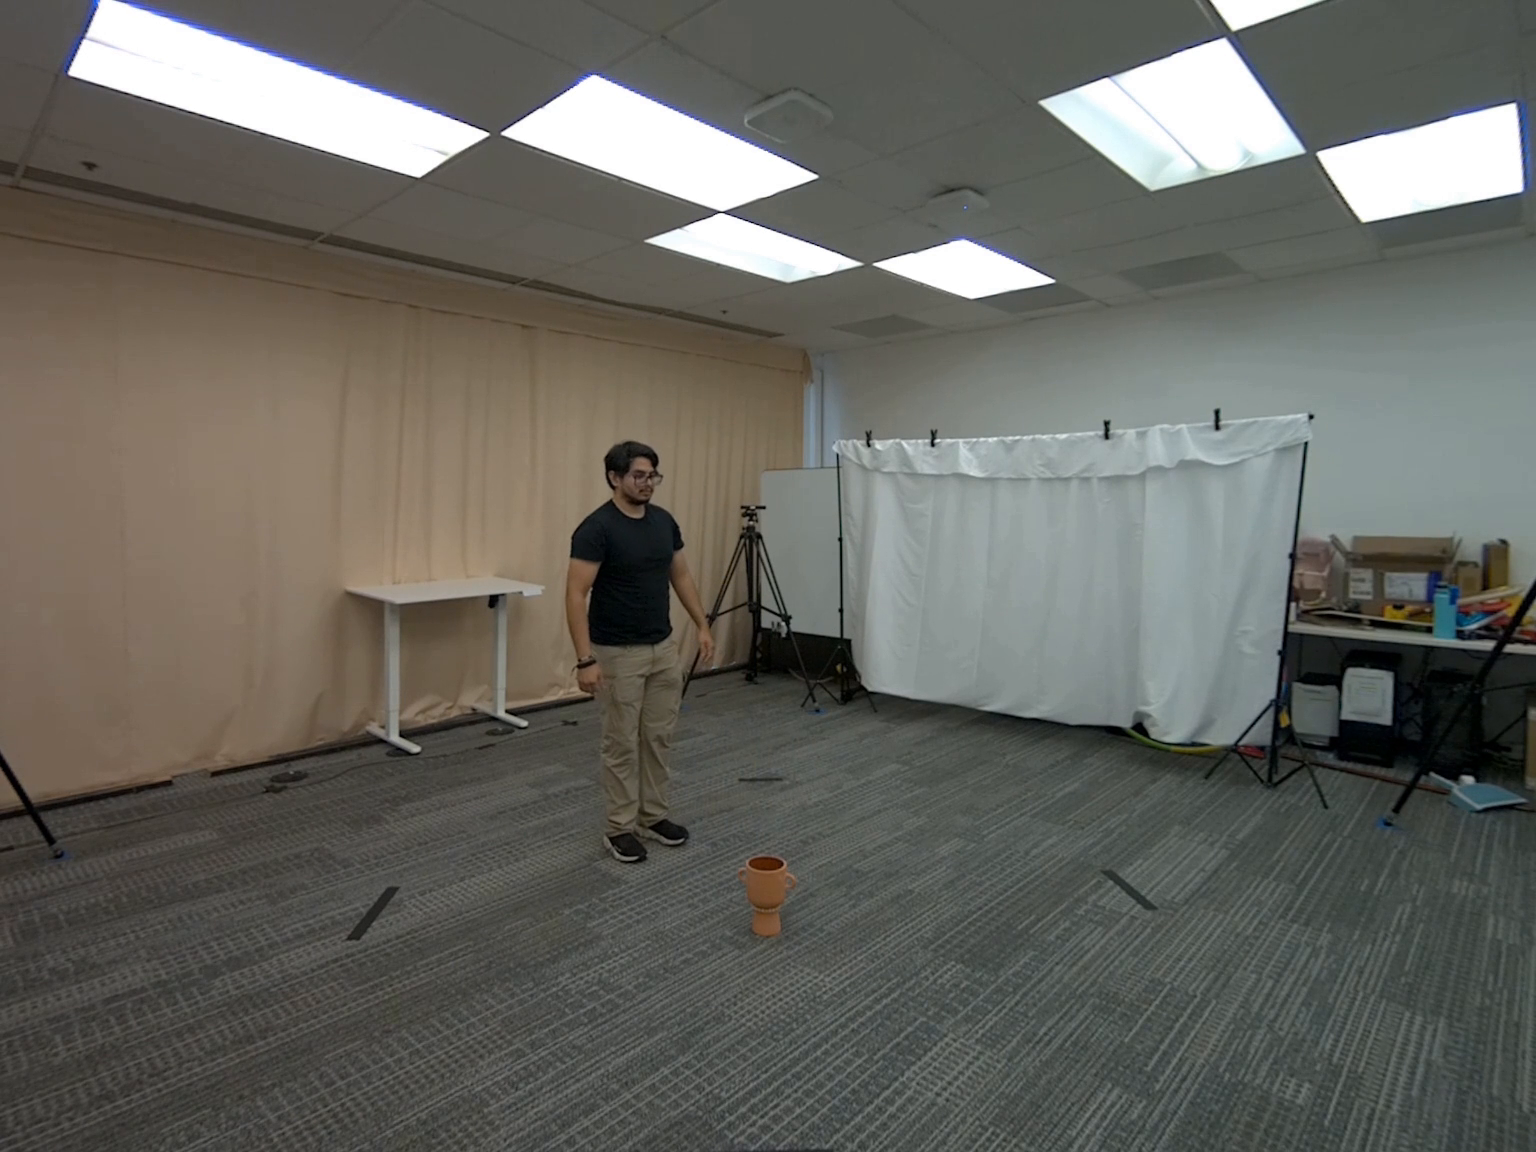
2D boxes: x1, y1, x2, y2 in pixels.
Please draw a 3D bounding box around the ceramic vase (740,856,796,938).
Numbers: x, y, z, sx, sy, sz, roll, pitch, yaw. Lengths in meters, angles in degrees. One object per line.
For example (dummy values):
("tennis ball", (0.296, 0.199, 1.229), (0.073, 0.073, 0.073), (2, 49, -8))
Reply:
("ceramic vase", (-0.001, 1.051, 2.759), (0.131, 0.219, 0.164), (-2, 4, -35))
